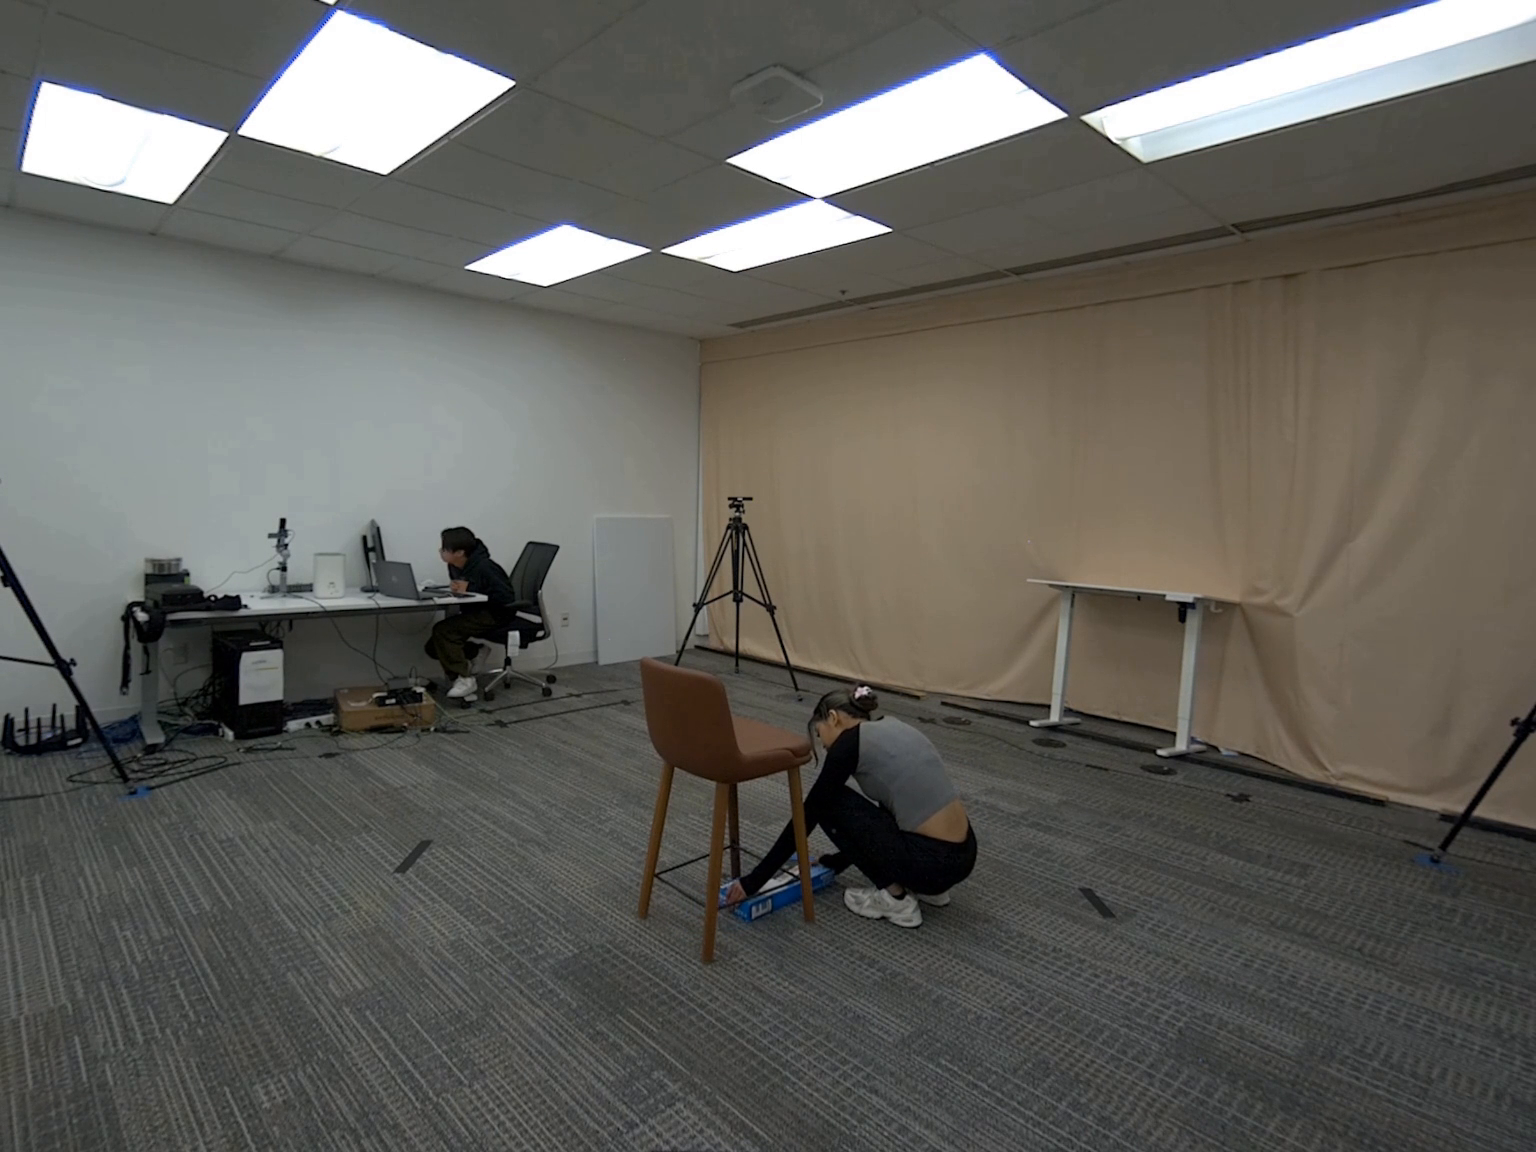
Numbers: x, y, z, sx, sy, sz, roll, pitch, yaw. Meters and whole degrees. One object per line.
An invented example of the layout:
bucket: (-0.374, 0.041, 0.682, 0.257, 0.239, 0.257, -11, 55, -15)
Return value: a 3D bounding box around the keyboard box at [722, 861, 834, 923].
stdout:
keyboard box: (0.029, 1.092, 2.963, 0.427, 0.059, 0.180, -5, 5, -43)
